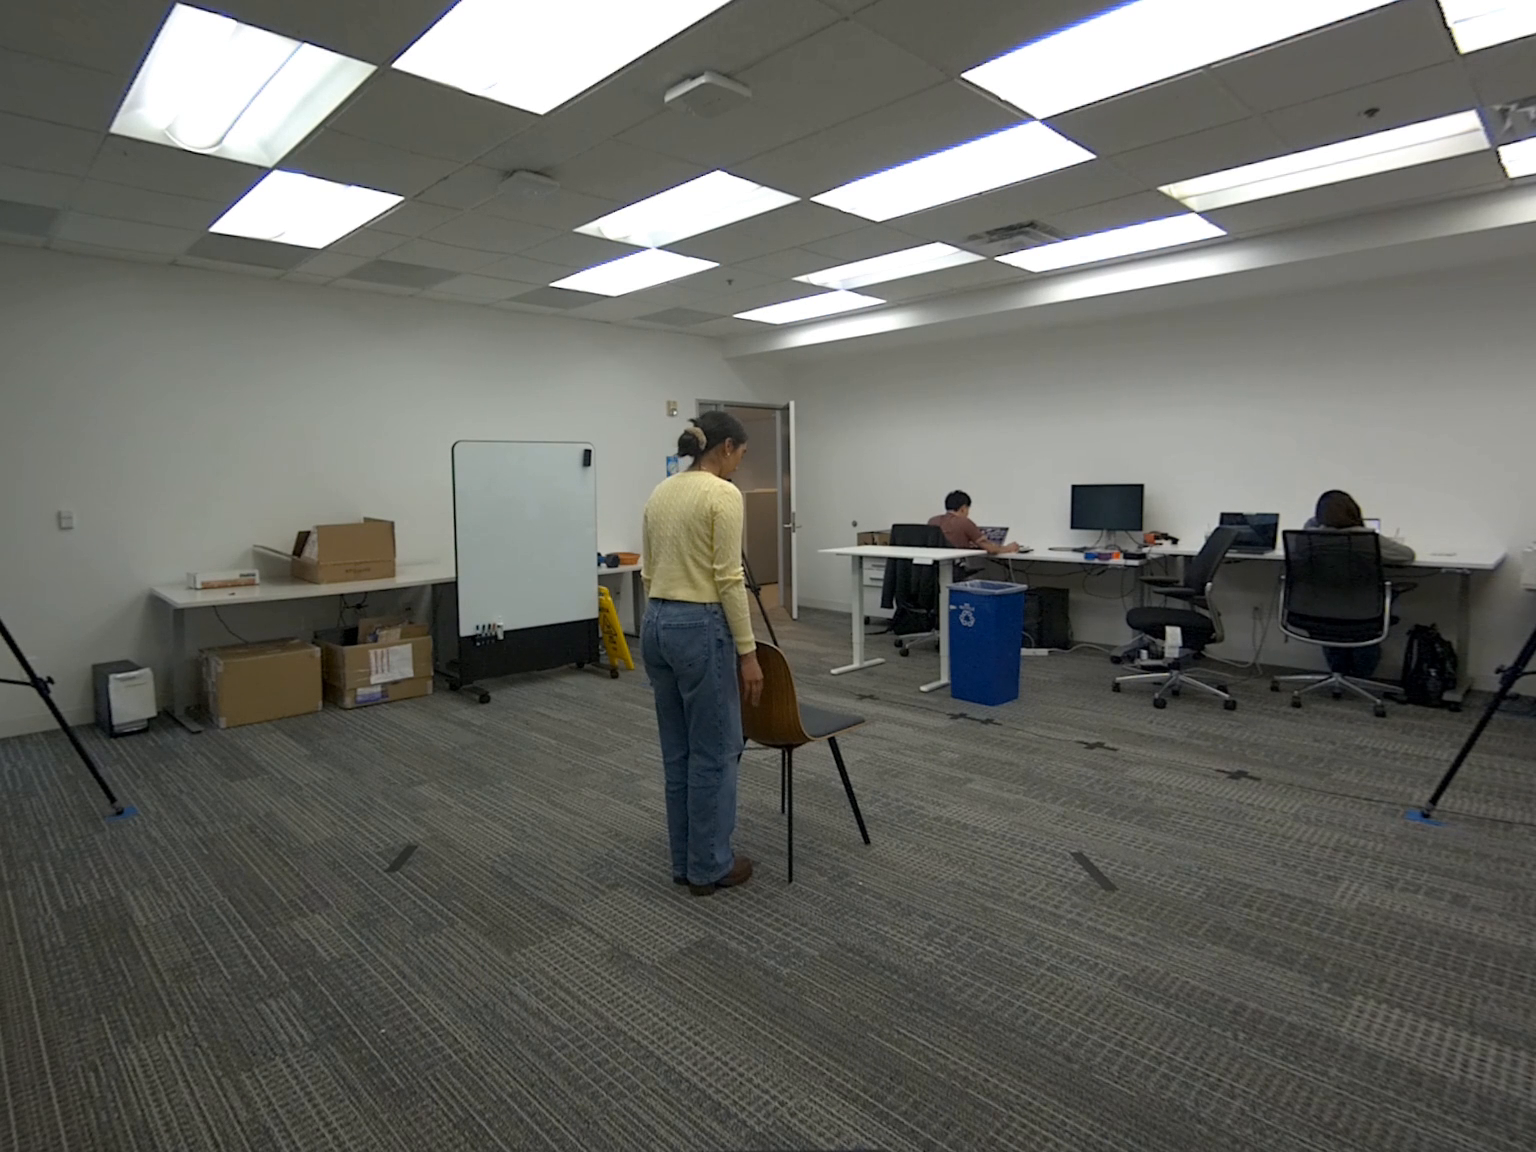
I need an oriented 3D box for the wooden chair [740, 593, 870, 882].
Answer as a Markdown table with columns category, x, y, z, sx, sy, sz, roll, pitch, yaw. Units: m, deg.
| category | x | y | z | sx | sy | sz | roll | pitch | yaw |
| --- | --- | --- | --- | --- | --- | --- | --- | --- | --- |
| wooden chair | 0.072 | 0.599 | 3.238 | 0.493 | 0.871 | 0.511 | 3 | 10 | 45 |
